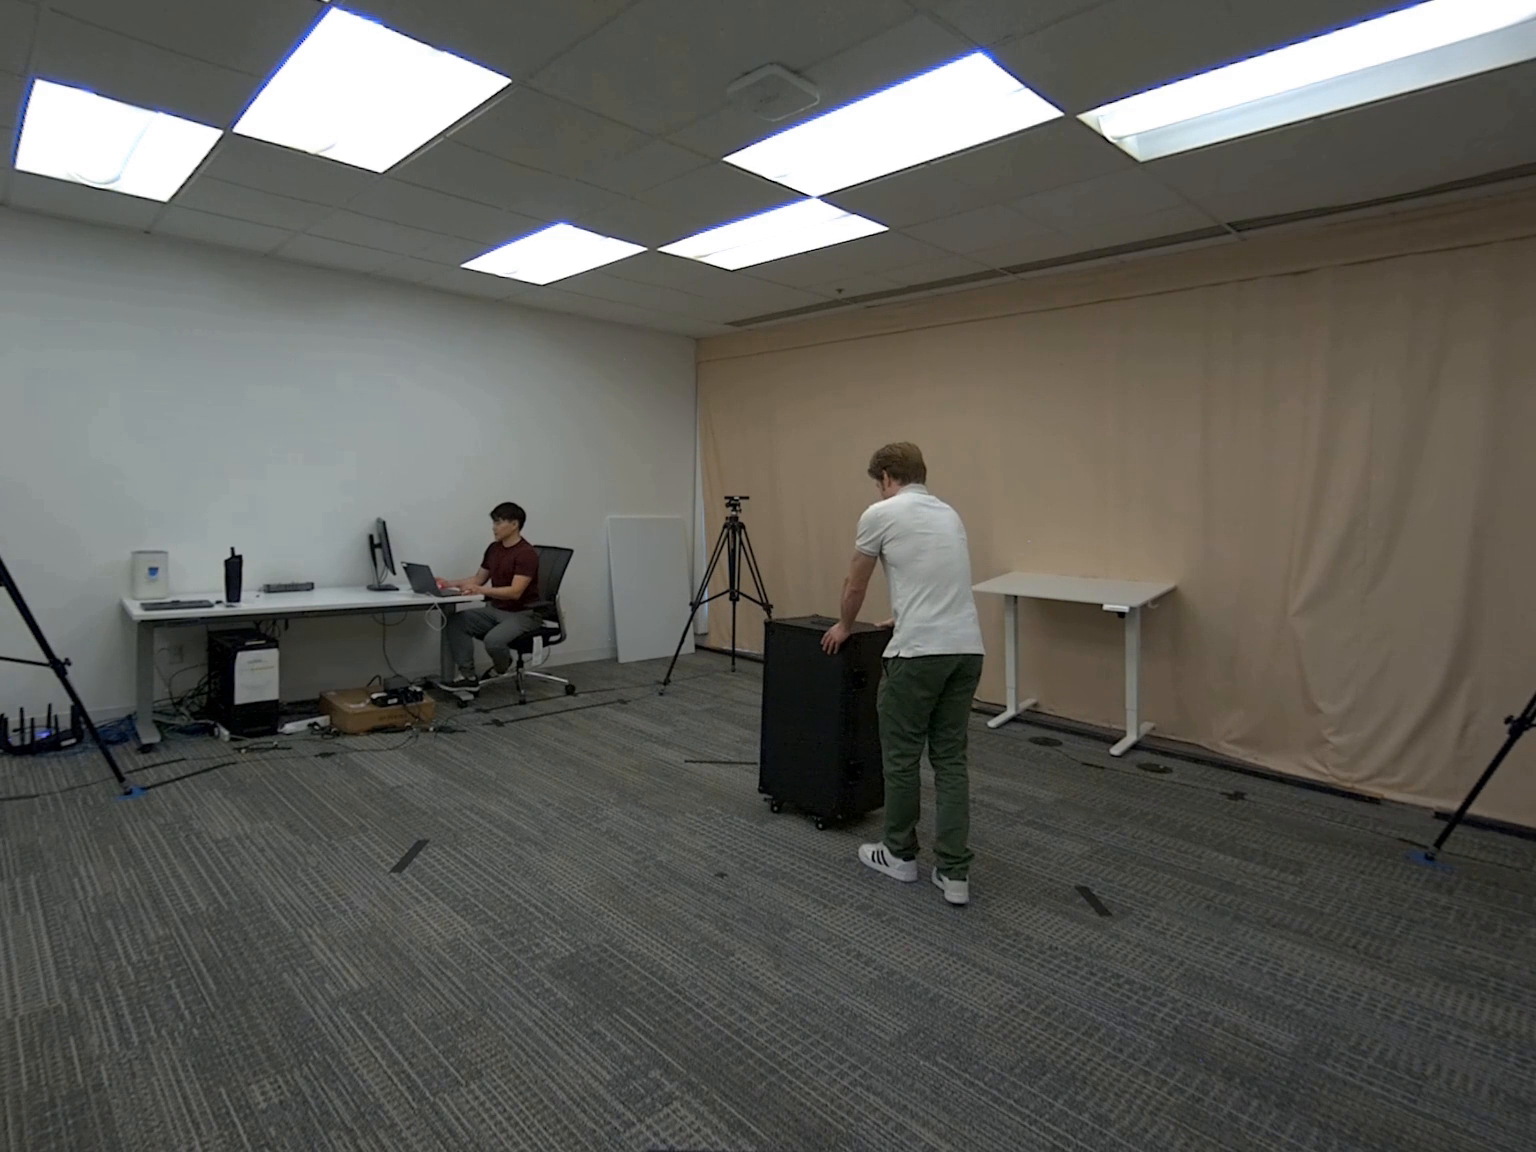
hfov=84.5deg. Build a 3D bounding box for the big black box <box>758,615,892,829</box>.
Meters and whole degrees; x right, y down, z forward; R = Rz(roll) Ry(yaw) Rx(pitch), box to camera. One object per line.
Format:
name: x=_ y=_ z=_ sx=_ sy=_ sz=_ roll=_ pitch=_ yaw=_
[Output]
big black box: x=0.250 y=0.637 z=3.737 sx=0.537 sy=0.866 sz=0.376 roll=6 pitch=5 yaw=44
